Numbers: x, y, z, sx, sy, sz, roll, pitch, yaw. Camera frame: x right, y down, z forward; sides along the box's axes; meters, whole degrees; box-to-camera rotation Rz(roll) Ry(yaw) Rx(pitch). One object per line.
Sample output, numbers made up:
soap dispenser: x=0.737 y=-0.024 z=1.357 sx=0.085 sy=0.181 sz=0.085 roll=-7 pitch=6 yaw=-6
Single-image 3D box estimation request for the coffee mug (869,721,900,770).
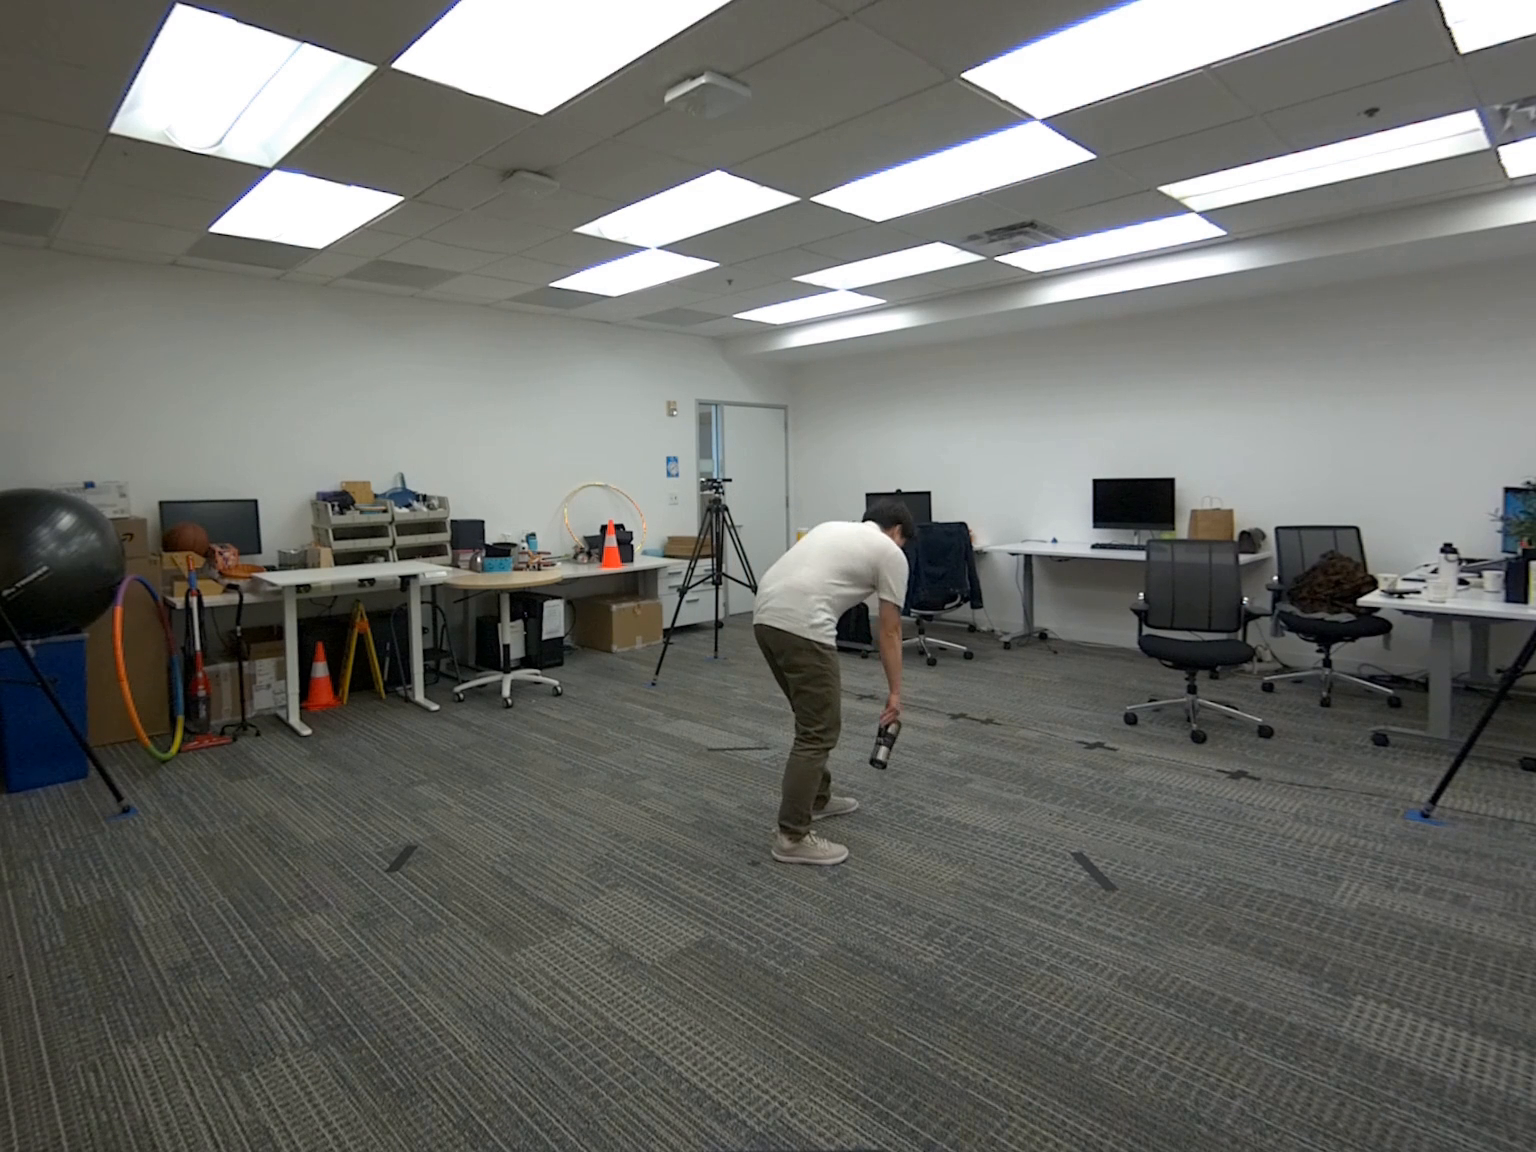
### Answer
coffee mug: x=0.462 y=0.656 z=3.420 sx=0.090 sy=0.205 sz=0.117 roll=0 pitch=-42 yaw=36
